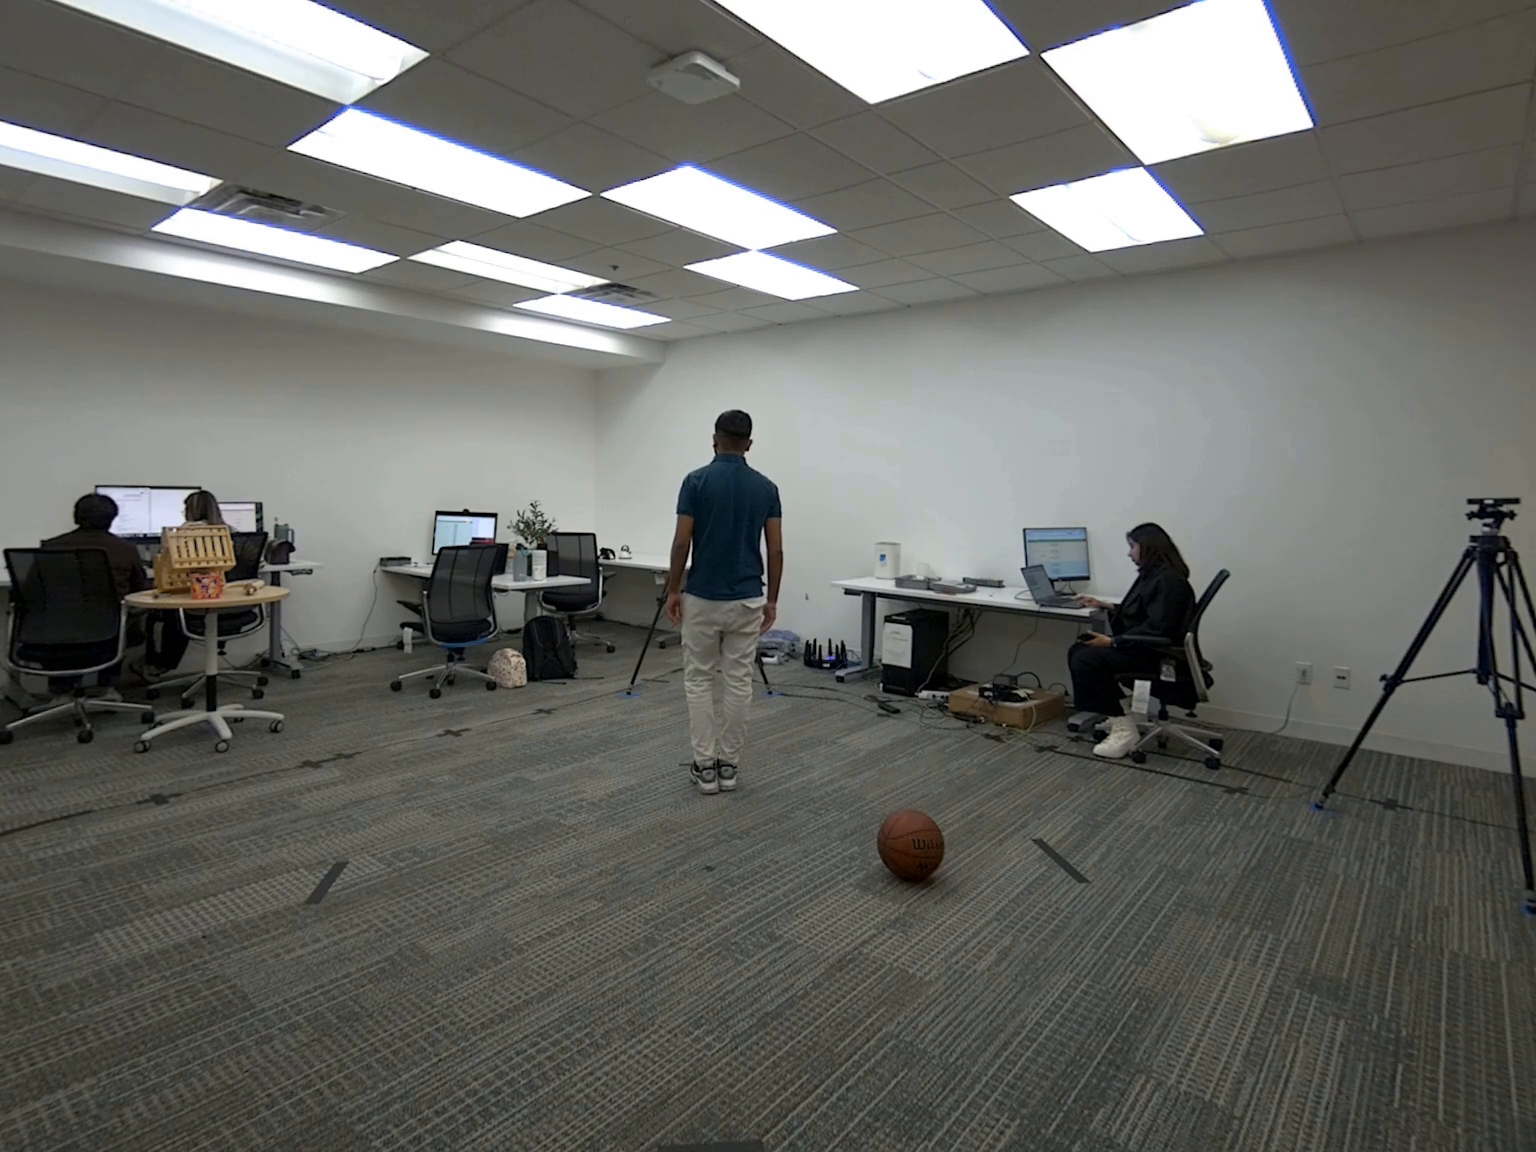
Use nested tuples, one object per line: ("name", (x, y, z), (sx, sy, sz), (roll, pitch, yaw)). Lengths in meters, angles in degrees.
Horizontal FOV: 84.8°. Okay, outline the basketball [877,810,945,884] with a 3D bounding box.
("basketball", (0.507, 0.963, 3.079), (0.235, 0.235, 0.237), (1, 4, -2))
